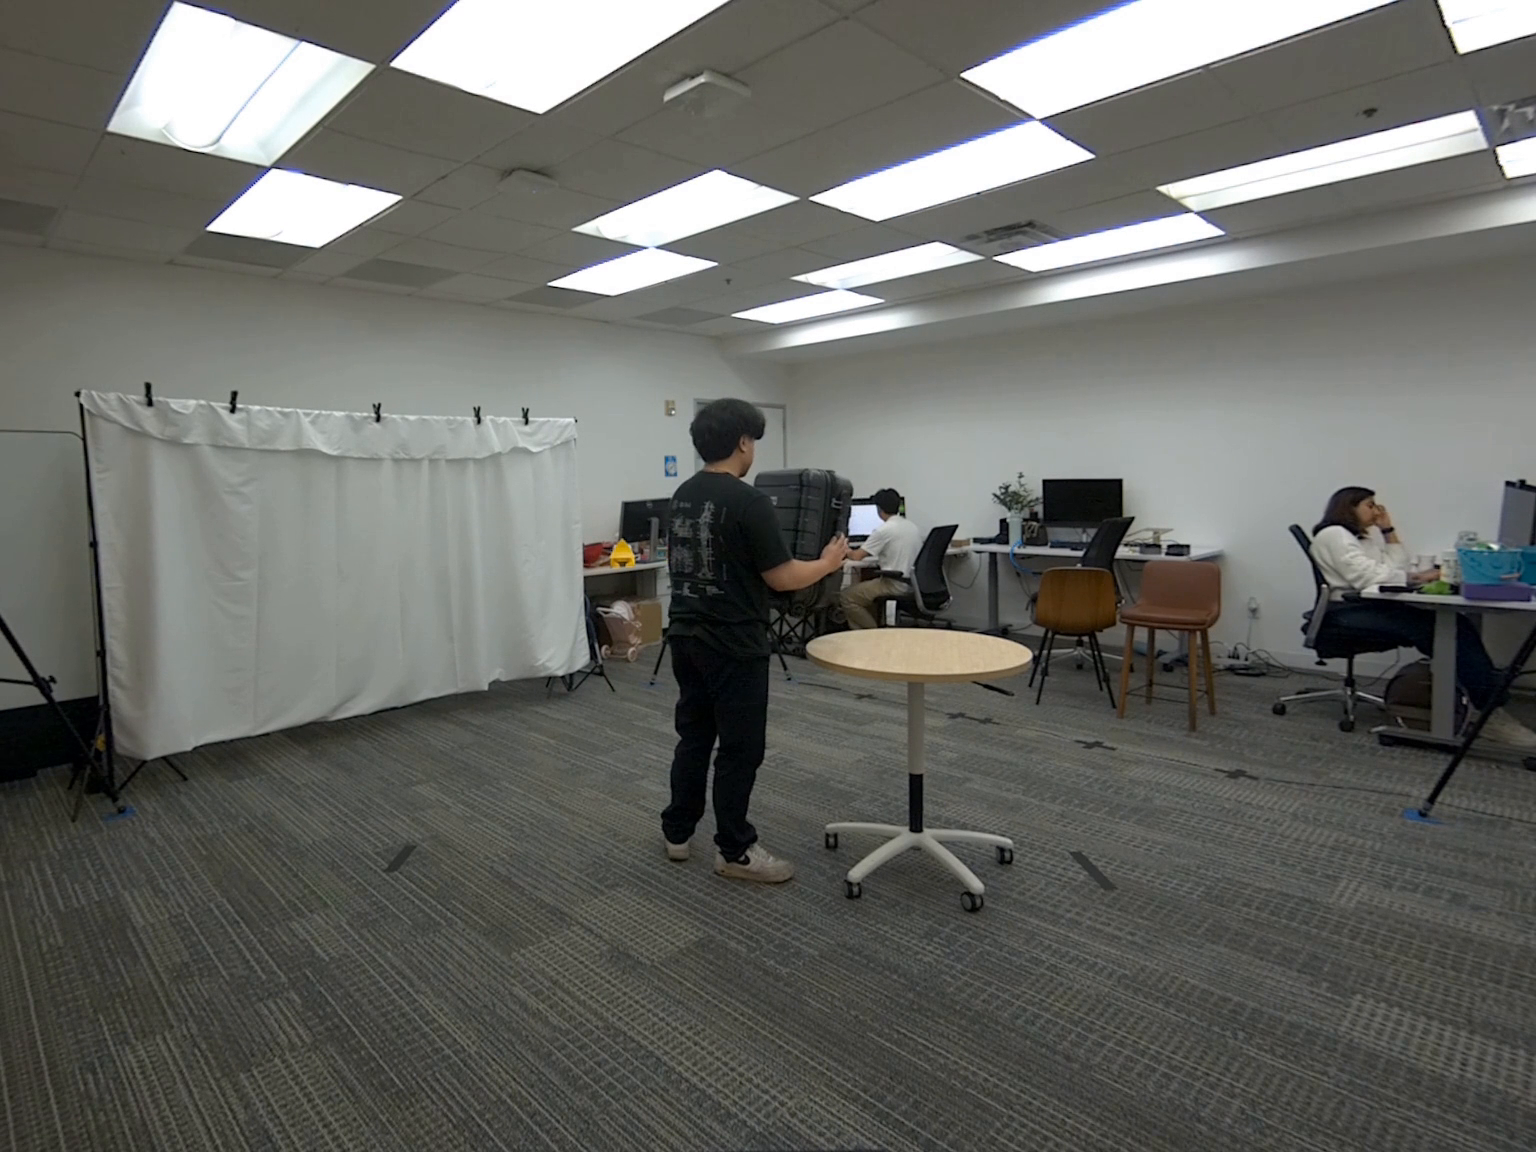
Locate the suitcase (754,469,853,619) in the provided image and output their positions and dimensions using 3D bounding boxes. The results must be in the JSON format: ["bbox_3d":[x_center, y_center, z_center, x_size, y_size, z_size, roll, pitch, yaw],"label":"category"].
[{"bbox_3d":[0.104,-0.125,3.195,0.241,0.550,0.386,7,-2,-37],"label":"suitcase"}]
